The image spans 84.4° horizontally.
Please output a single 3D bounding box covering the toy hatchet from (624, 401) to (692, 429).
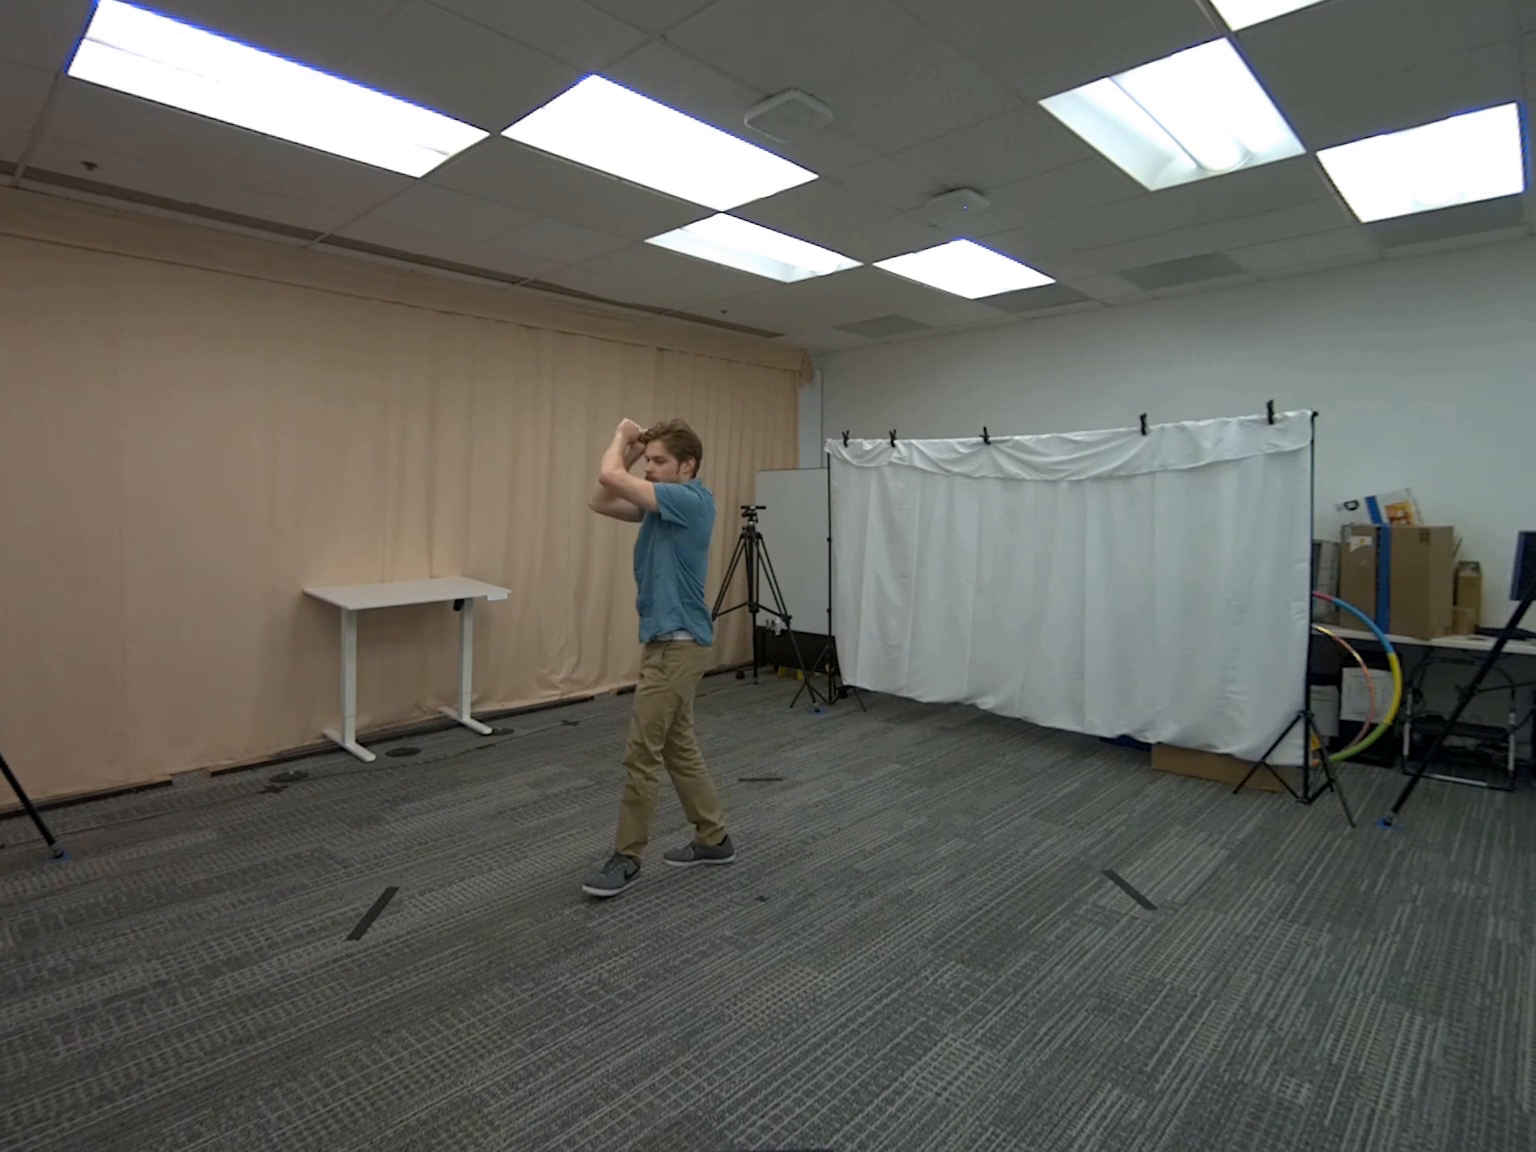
[{"bbox_3d":[-0.428,-0.557,3.238,0.261,0.131,0.030,18,-9,-34],"label":"toy hatchet"}]
